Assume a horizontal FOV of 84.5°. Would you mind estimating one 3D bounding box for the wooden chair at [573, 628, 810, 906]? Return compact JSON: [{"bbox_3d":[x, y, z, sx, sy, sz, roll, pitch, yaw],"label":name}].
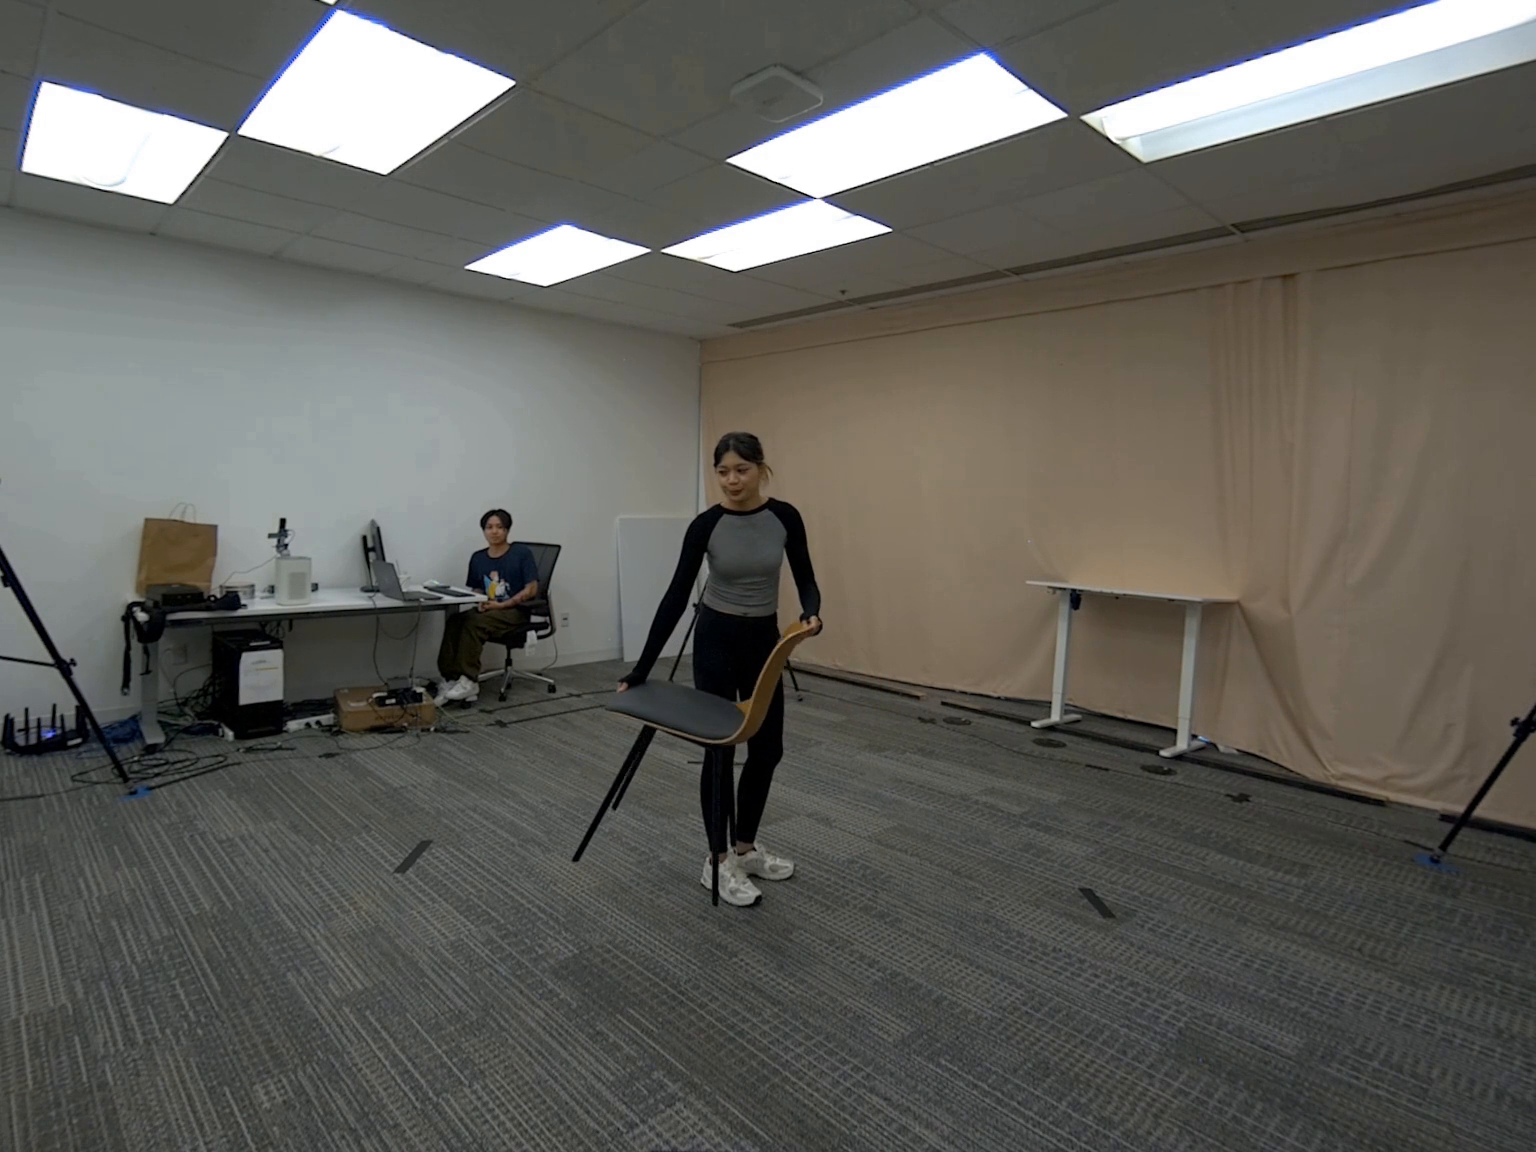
[{"bbox_3d":[-0.256,0.489,2.668,0.526,0.875,0.476,19,5,5],"label":"wooden chair"}]
